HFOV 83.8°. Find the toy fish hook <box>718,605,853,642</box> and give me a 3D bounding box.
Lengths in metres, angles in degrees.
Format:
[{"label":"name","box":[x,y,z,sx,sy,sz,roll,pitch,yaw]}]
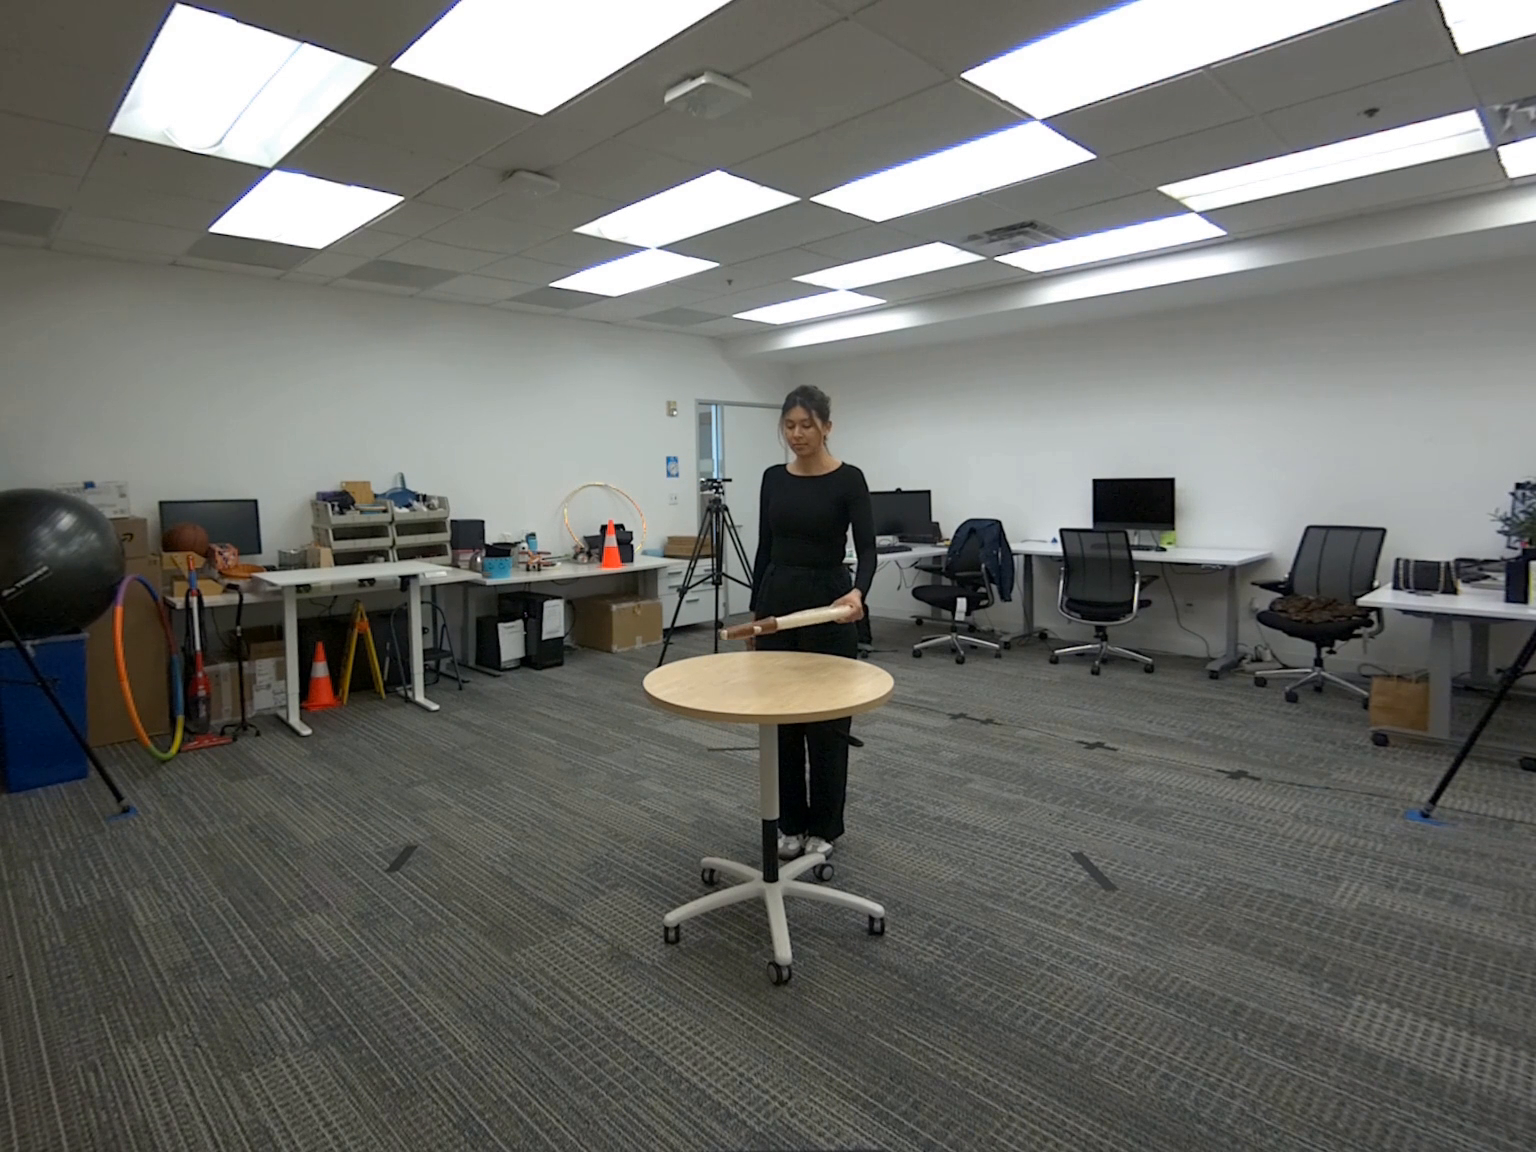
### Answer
[{"label":"toy fish hook","box":[0.037,0.151,2.621,0.495,0.048,0.229,-8,-3,-33]}]
